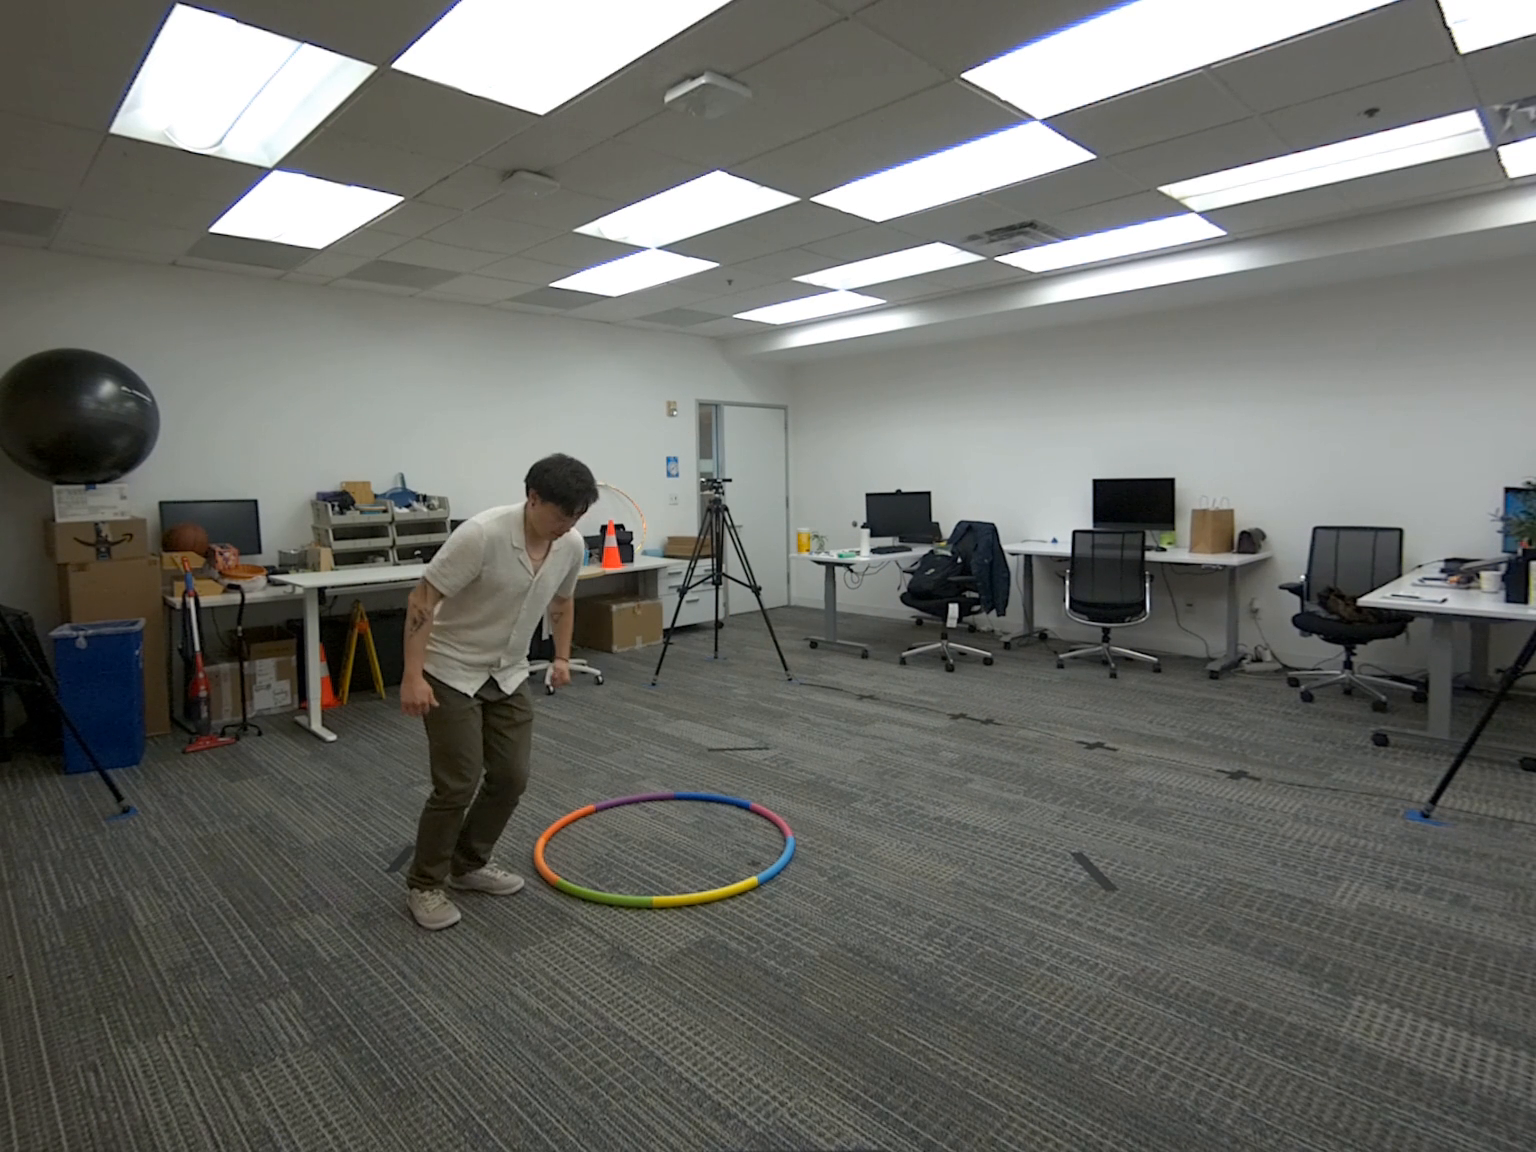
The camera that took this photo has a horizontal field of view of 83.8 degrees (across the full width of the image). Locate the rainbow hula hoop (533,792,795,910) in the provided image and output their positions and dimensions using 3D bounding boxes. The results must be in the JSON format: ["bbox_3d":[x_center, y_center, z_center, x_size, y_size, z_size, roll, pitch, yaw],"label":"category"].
[{"bbox_3d":[-0.385,1.004,3.273,0.978,0.035,0.984,-1,6,-2],"label":"rainbow hula hoop"}]
